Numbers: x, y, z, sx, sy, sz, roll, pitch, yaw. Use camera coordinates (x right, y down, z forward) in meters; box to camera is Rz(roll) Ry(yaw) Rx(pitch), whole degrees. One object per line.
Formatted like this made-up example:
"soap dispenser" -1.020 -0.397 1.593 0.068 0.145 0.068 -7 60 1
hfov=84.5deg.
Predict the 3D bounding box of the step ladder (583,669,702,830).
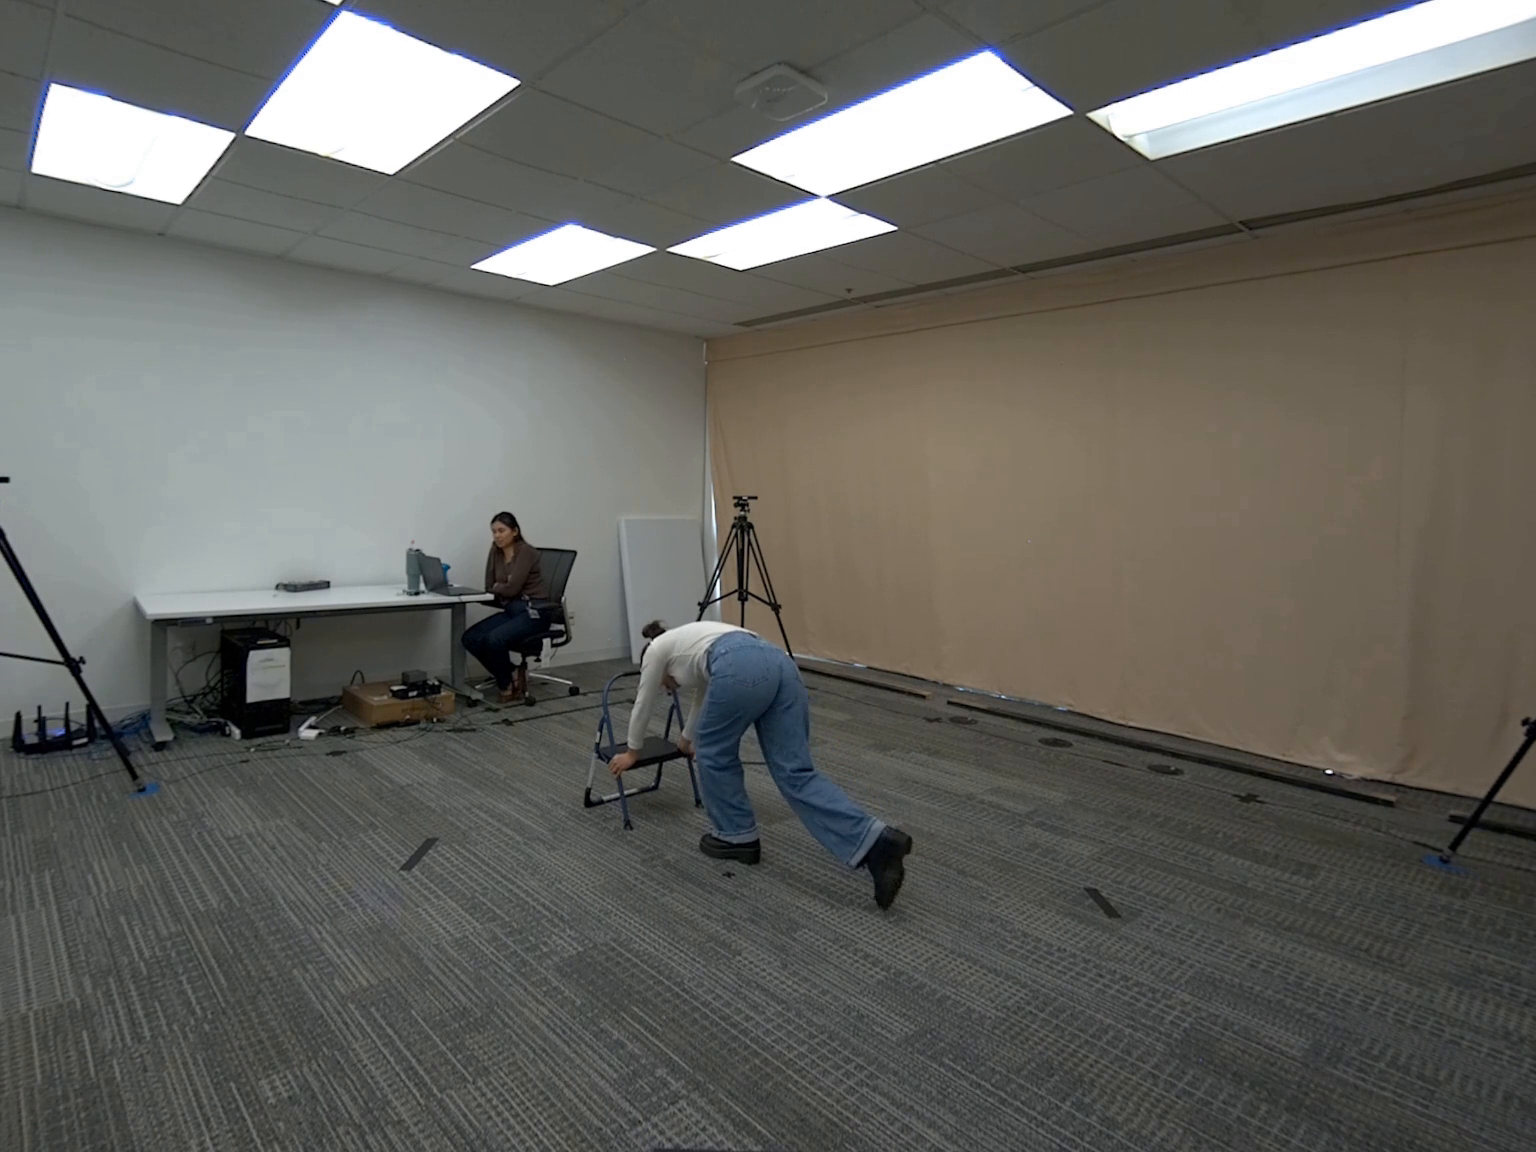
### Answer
"step ladder" -0.558 0.735 3.754 0.358 0.605 0.421 5 5 45
